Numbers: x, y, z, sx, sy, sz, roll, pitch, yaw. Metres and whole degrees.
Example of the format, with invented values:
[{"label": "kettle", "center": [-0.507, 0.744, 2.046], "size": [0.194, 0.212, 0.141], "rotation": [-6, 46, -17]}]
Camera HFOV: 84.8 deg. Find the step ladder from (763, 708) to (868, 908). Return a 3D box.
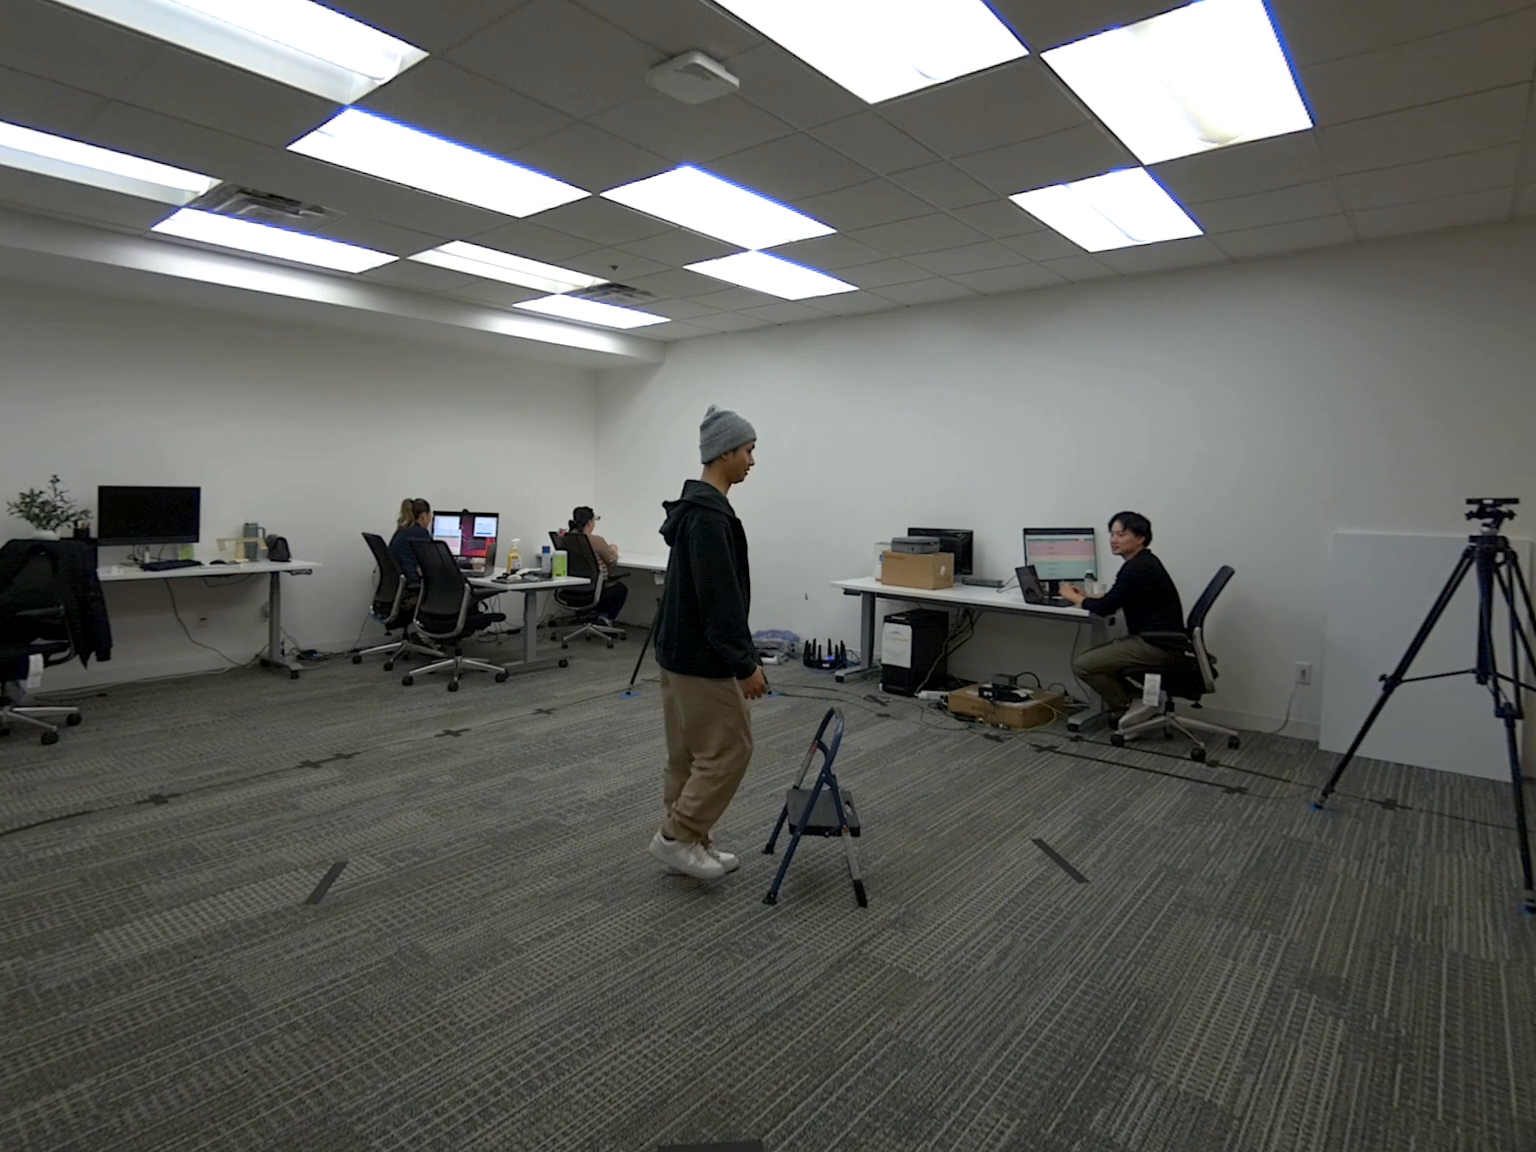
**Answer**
[{"label": "step ladder", "center": [0.159, 0.783, 3.034], "size": [0.350, 0.604, 0.432], "rotation": [2, 4, 0]}]
